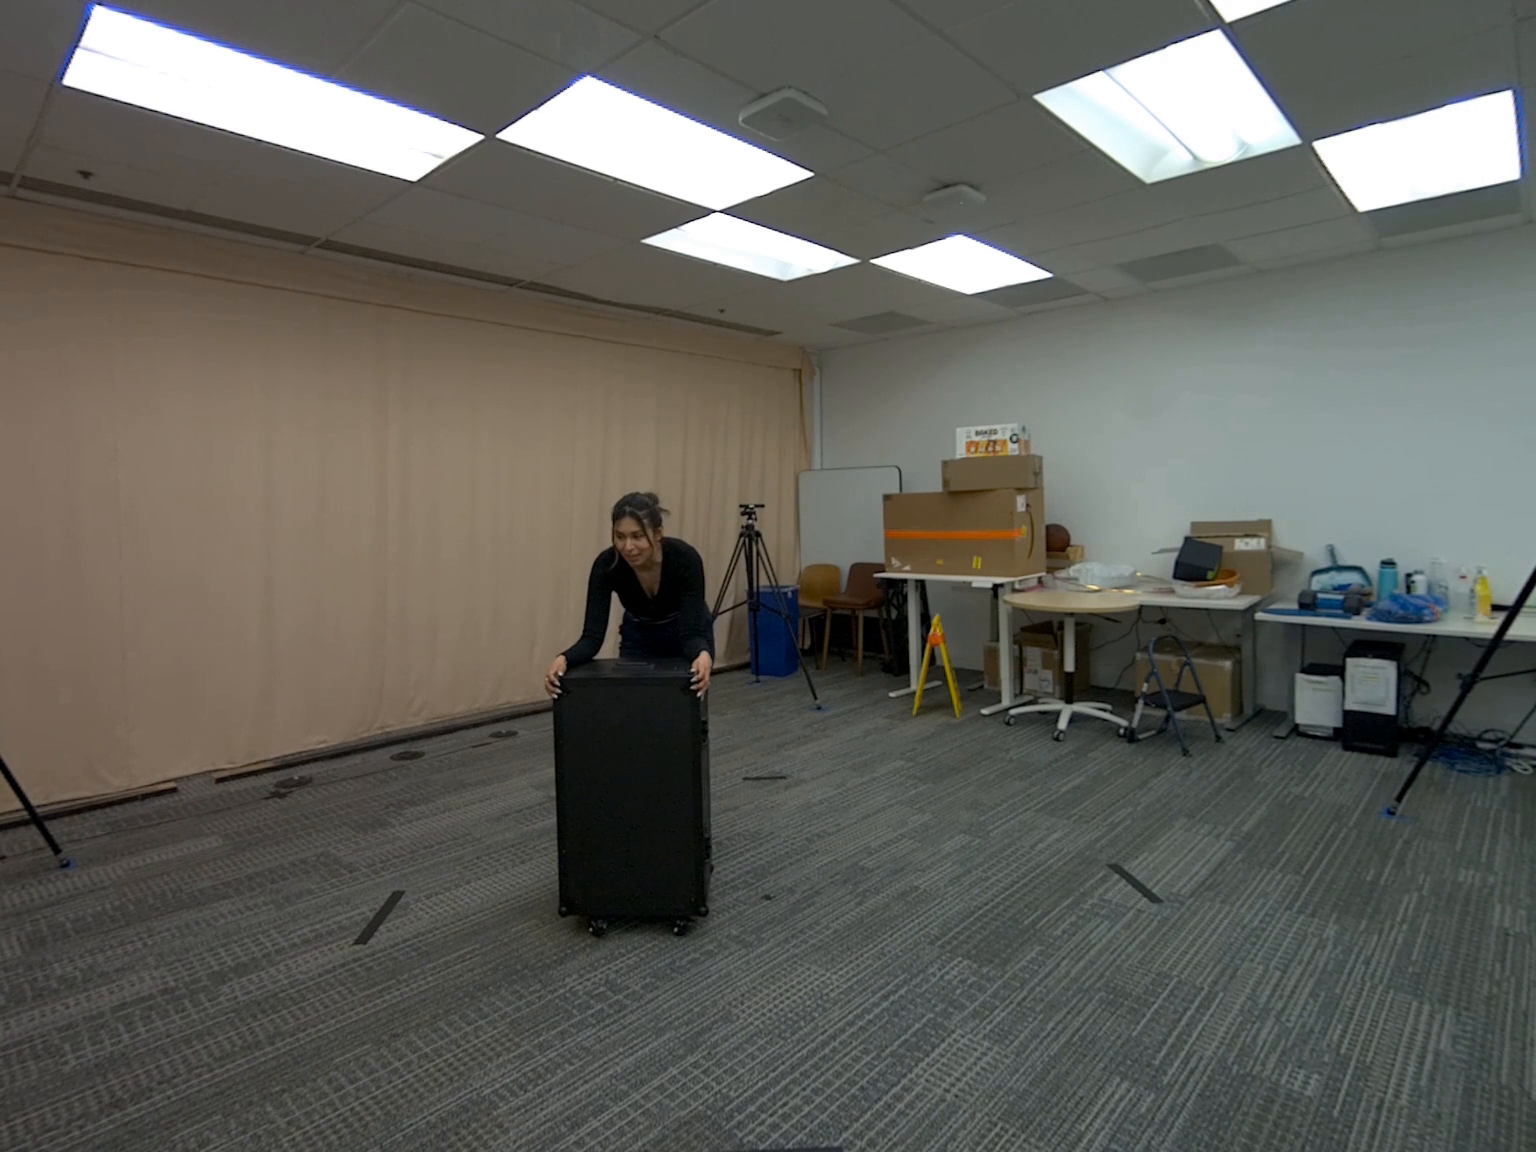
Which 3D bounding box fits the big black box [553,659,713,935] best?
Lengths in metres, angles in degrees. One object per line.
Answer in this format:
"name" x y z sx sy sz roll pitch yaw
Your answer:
"big black box" -0.449 0.731 2.889 0.523 0.860 0.395 -1 2 3
